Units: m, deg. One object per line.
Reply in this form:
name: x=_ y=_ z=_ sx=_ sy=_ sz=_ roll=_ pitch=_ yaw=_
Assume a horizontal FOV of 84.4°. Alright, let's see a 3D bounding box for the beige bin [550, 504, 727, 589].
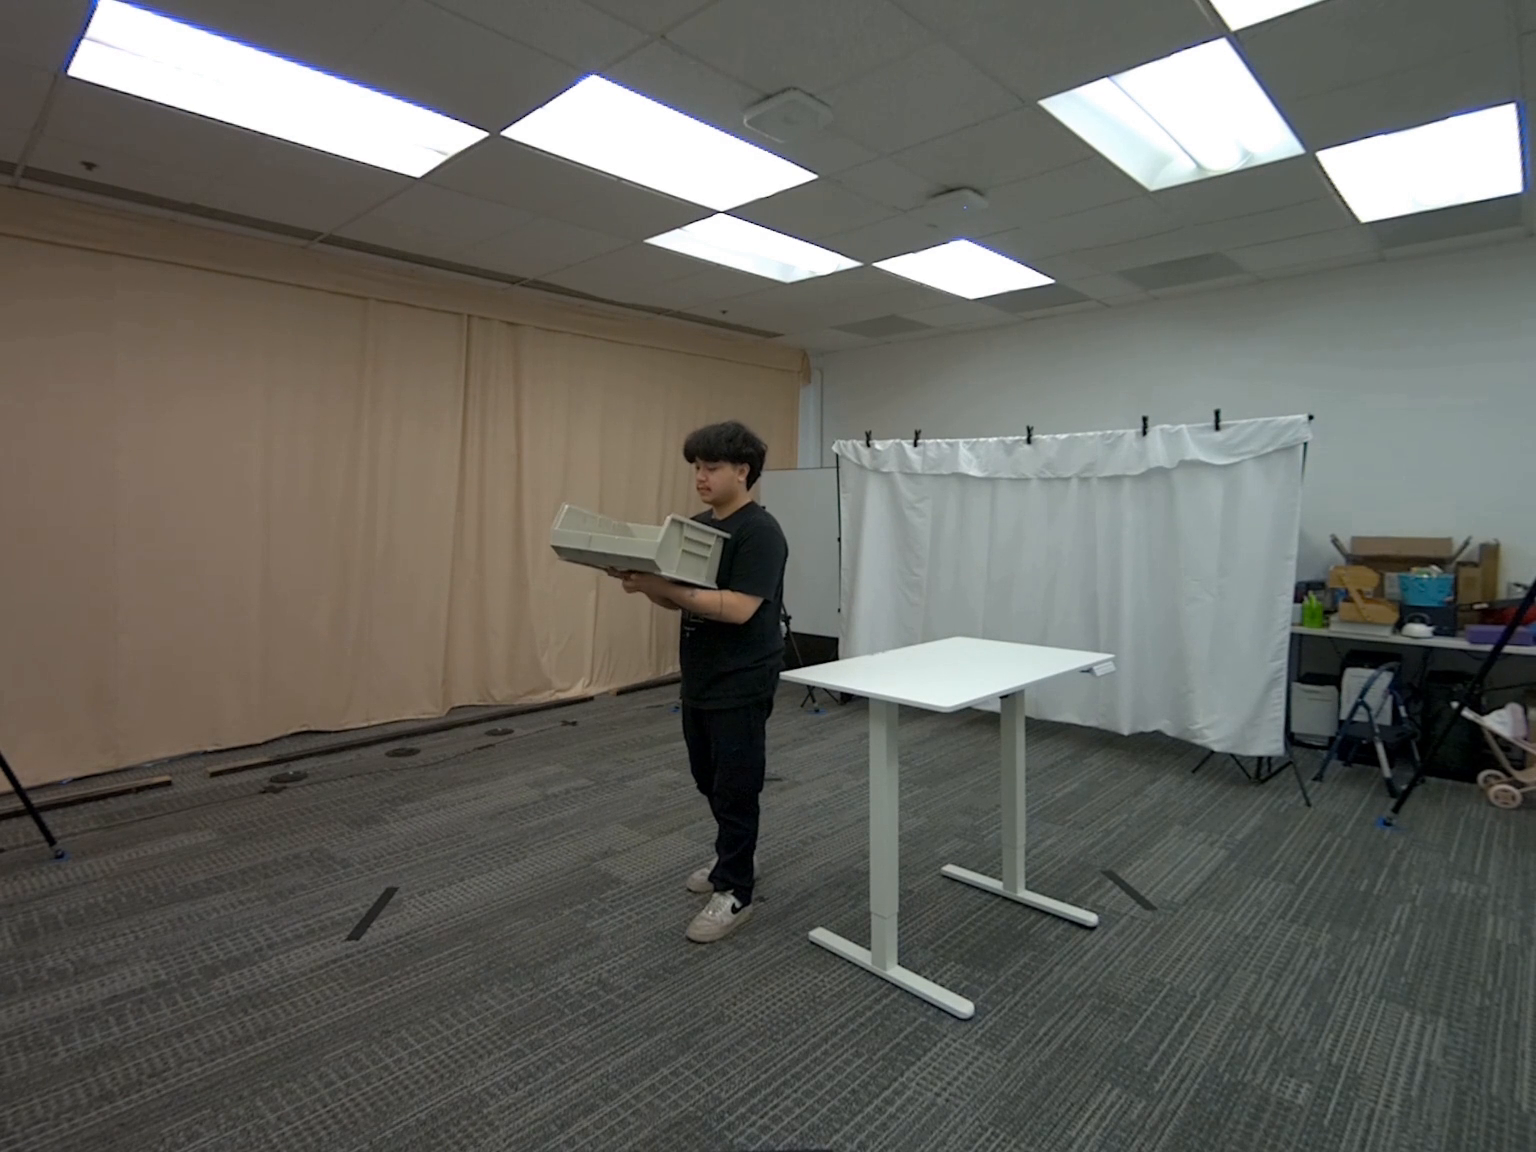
beige bin: x=-0.406 y=-0.091 z=2.646 sx=0.435 sy=0.189 sz=0.365 roll=7 pitch=-6 yaw=29
